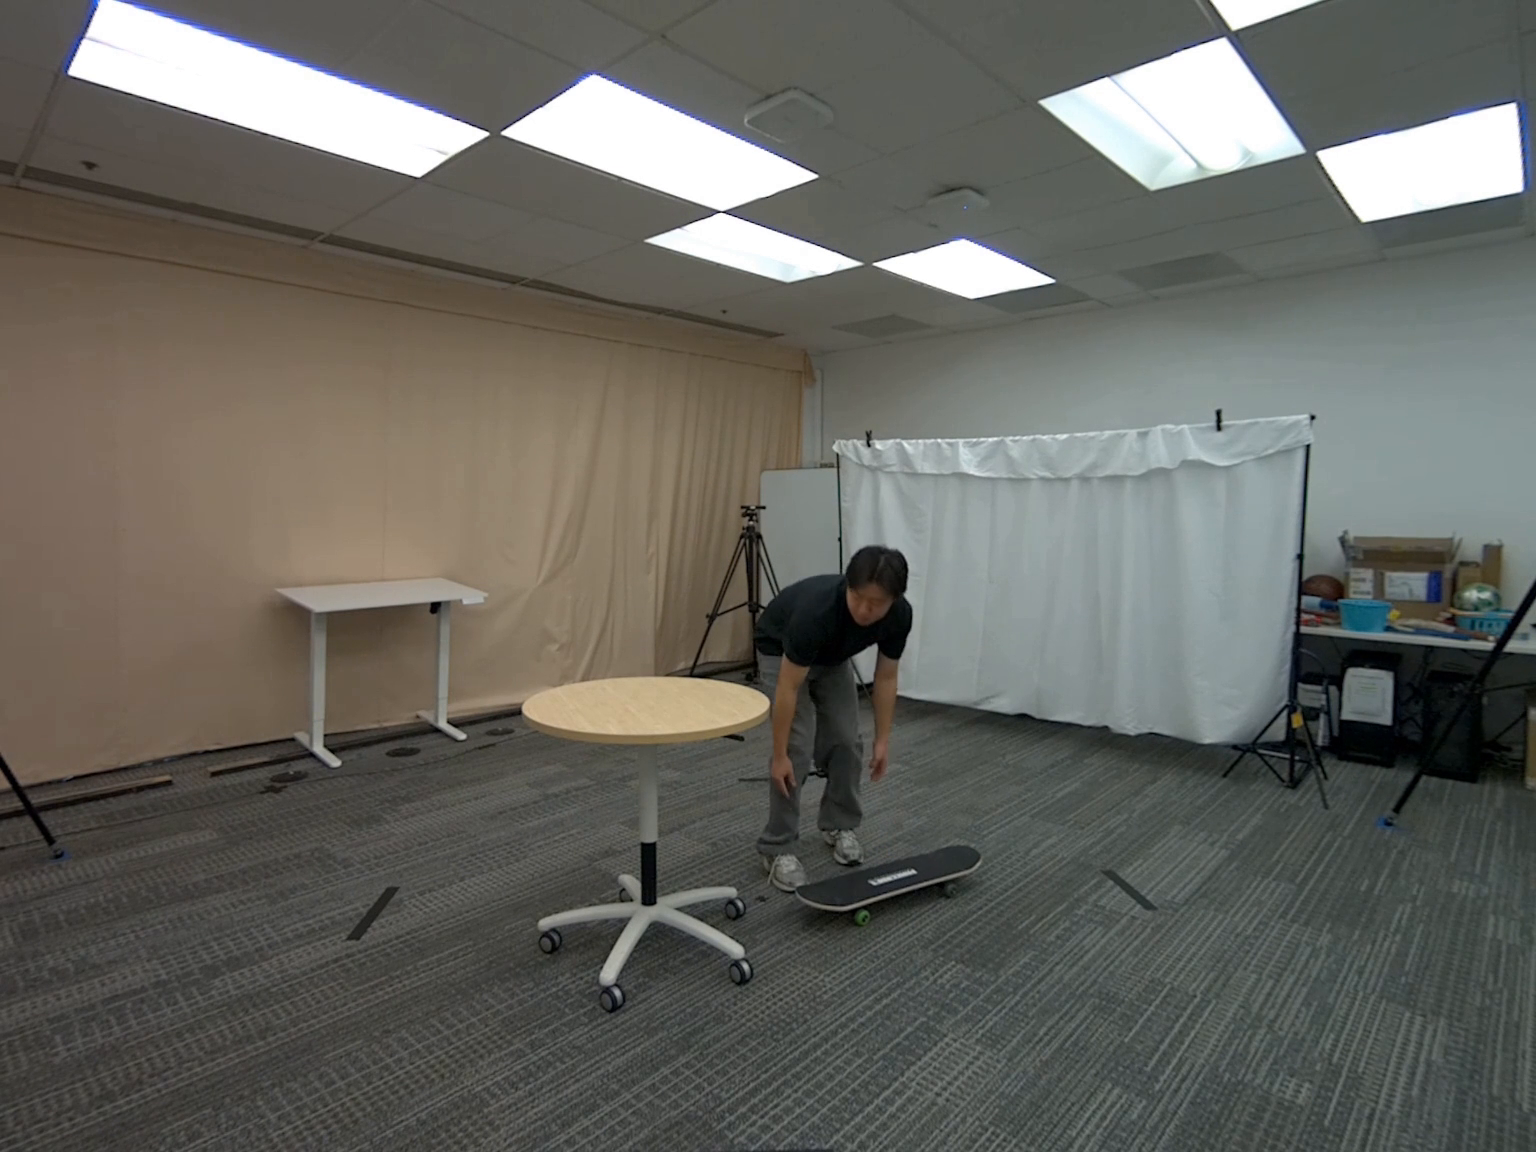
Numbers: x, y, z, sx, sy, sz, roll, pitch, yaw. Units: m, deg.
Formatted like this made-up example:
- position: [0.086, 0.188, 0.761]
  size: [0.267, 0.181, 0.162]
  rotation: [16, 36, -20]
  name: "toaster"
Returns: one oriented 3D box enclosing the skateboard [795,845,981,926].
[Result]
- position: [0.444, 1.090, 2.958]
  size: [0.764, 0.110, 0.199]
  rotation: [-4, 7, -31]
  name: "skateboard"
